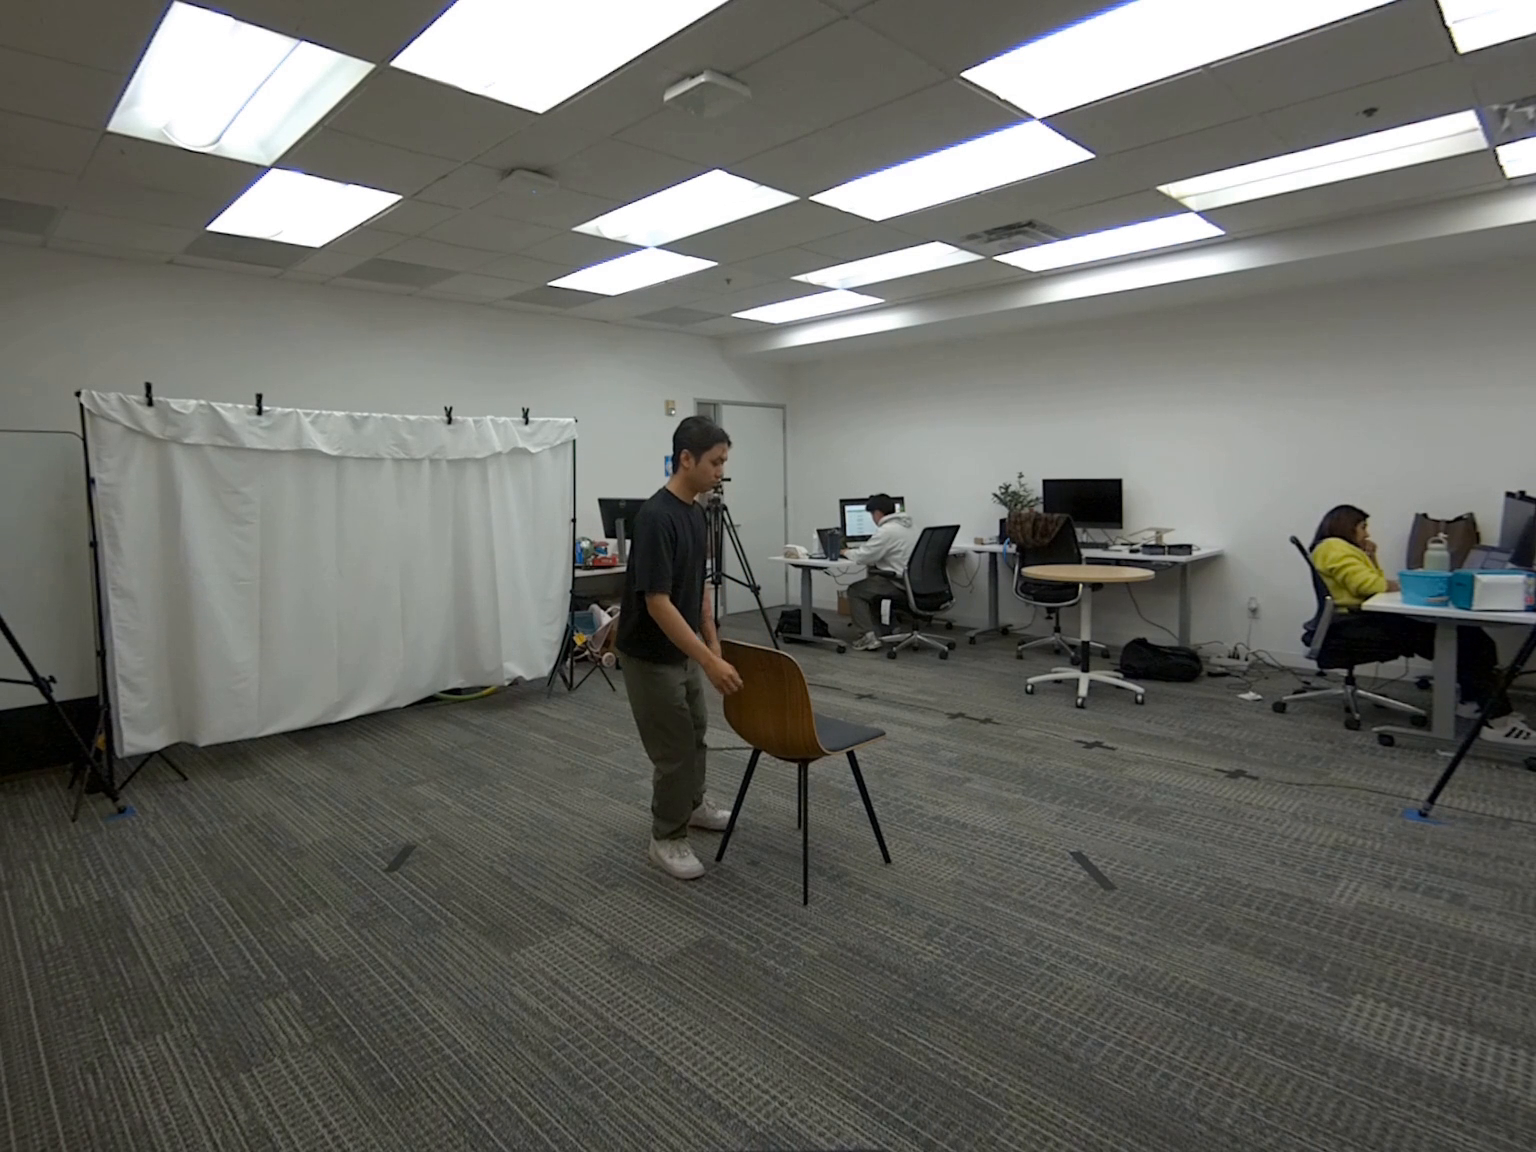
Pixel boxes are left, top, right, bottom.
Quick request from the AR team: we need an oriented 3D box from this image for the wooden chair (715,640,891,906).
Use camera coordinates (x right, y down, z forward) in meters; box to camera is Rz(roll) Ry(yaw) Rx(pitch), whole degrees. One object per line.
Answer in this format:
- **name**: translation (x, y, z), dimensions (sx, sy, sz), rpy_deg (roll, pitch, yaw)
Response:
- **wooden chair**: translation (0.128, 0.616, 3.070), dimensions (0.511, 0.872, 0.493), rpy_deg (-10, 9, -43)
